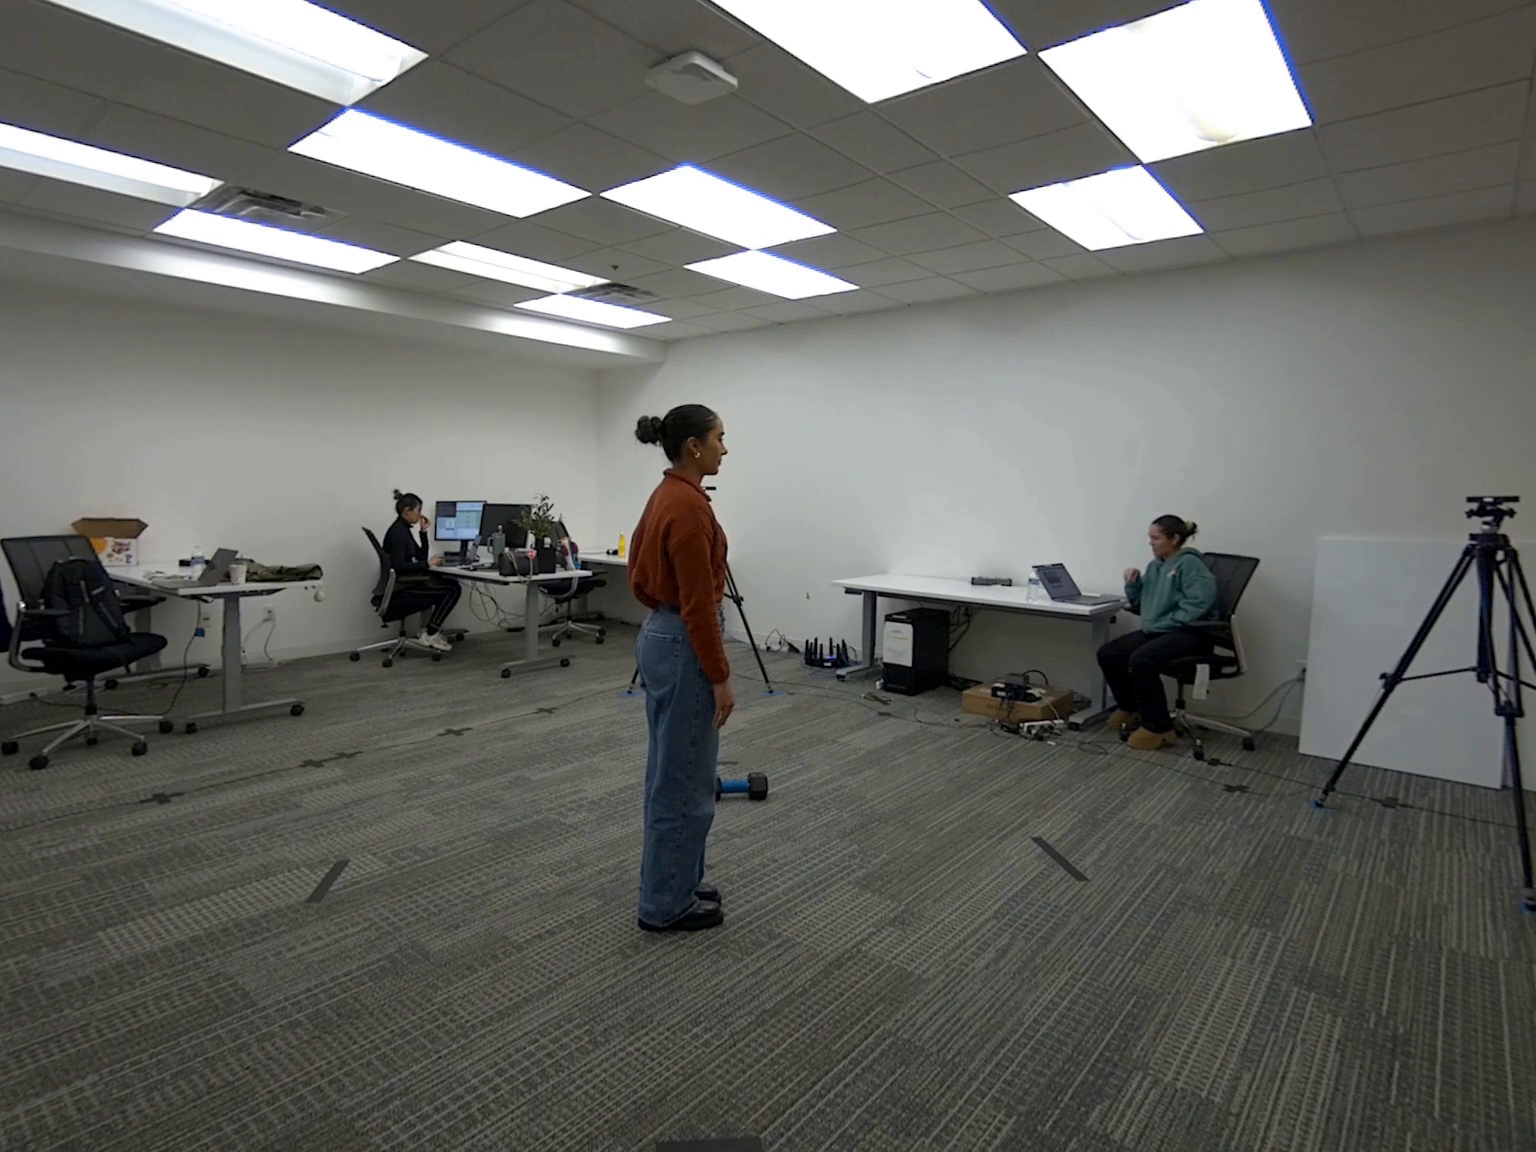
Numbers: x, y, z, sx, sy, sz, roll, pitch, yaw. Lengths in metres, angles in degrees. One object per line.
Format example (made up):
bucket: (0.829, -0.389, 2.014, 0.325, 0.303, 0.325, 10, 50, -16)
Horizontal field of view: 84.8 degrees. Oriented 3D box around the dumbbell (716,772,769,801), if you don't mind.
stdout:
dumbbell: (-0.159, 0.943, 3.822, 0.292, 0.120, 0.112, 0, 33, -6)
